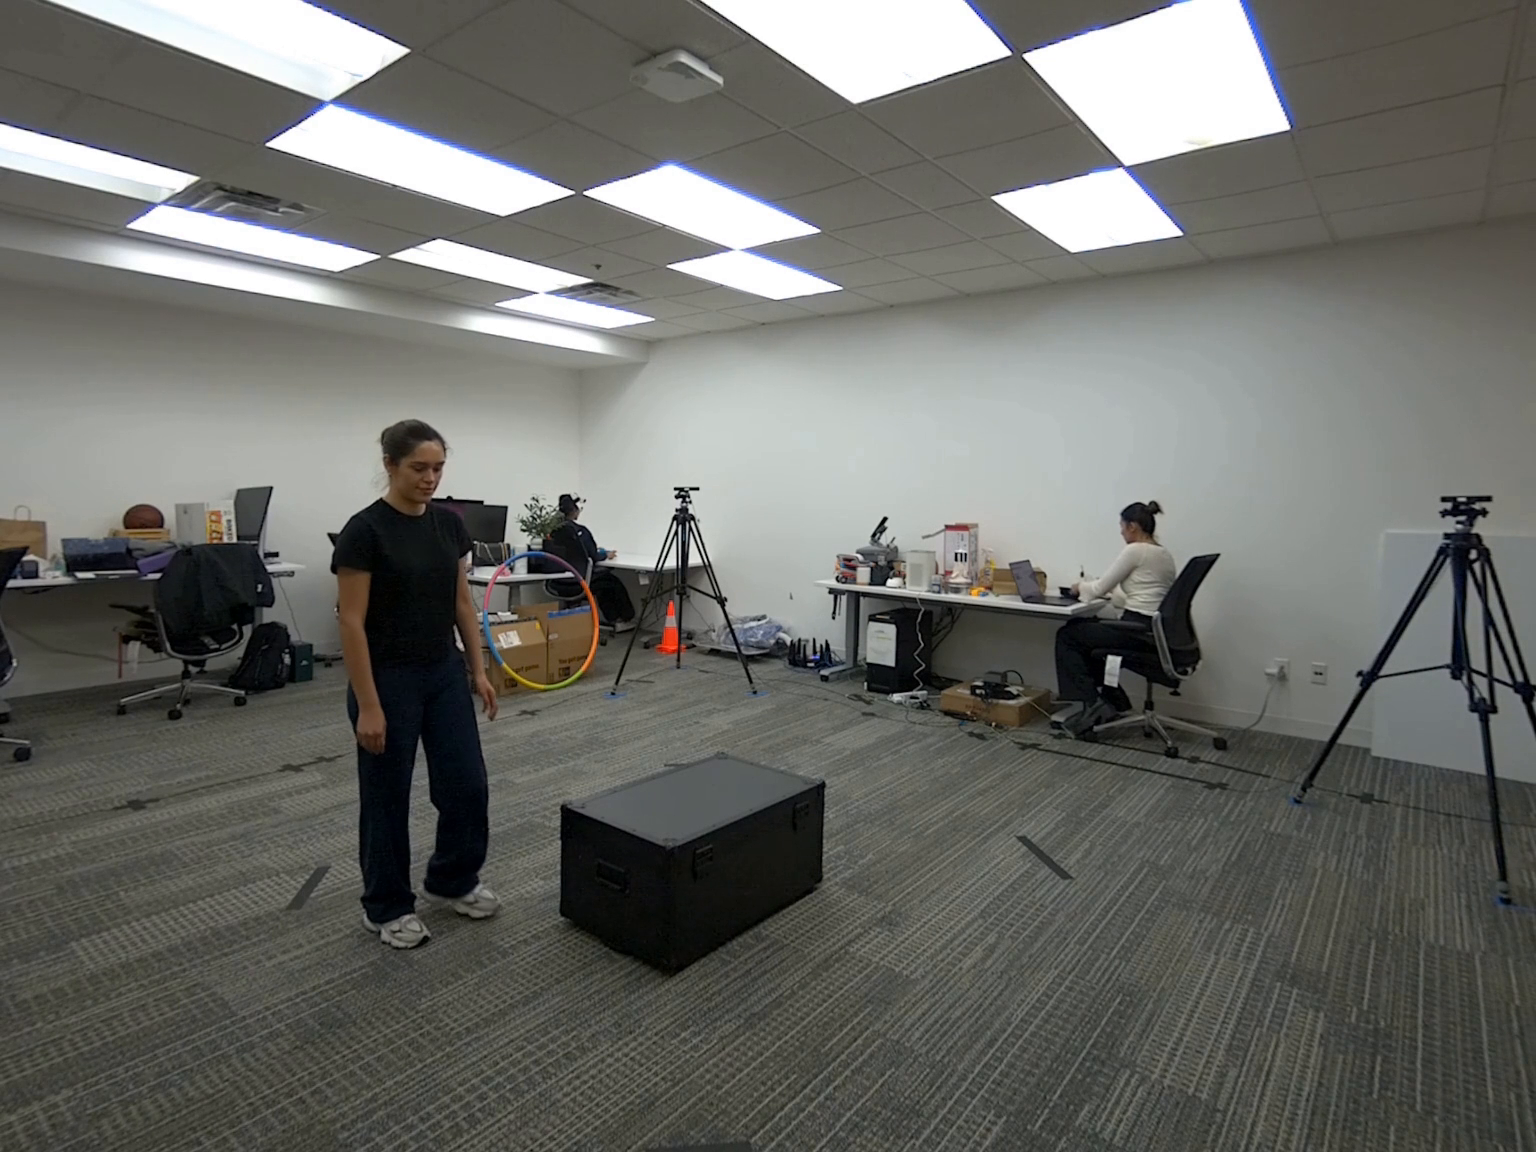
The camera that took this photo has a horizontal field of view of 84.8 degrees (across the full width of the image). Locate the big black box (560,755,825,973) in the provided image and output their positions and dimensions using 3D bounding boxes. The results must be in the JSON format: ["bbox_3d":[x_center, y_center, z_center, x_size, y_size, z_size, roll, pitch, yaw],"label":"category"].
[{"bbox_3d":[-0.199,0.902,2.861,0.539,0.394,0.837,5,7,38],"label":"big black box"}]
